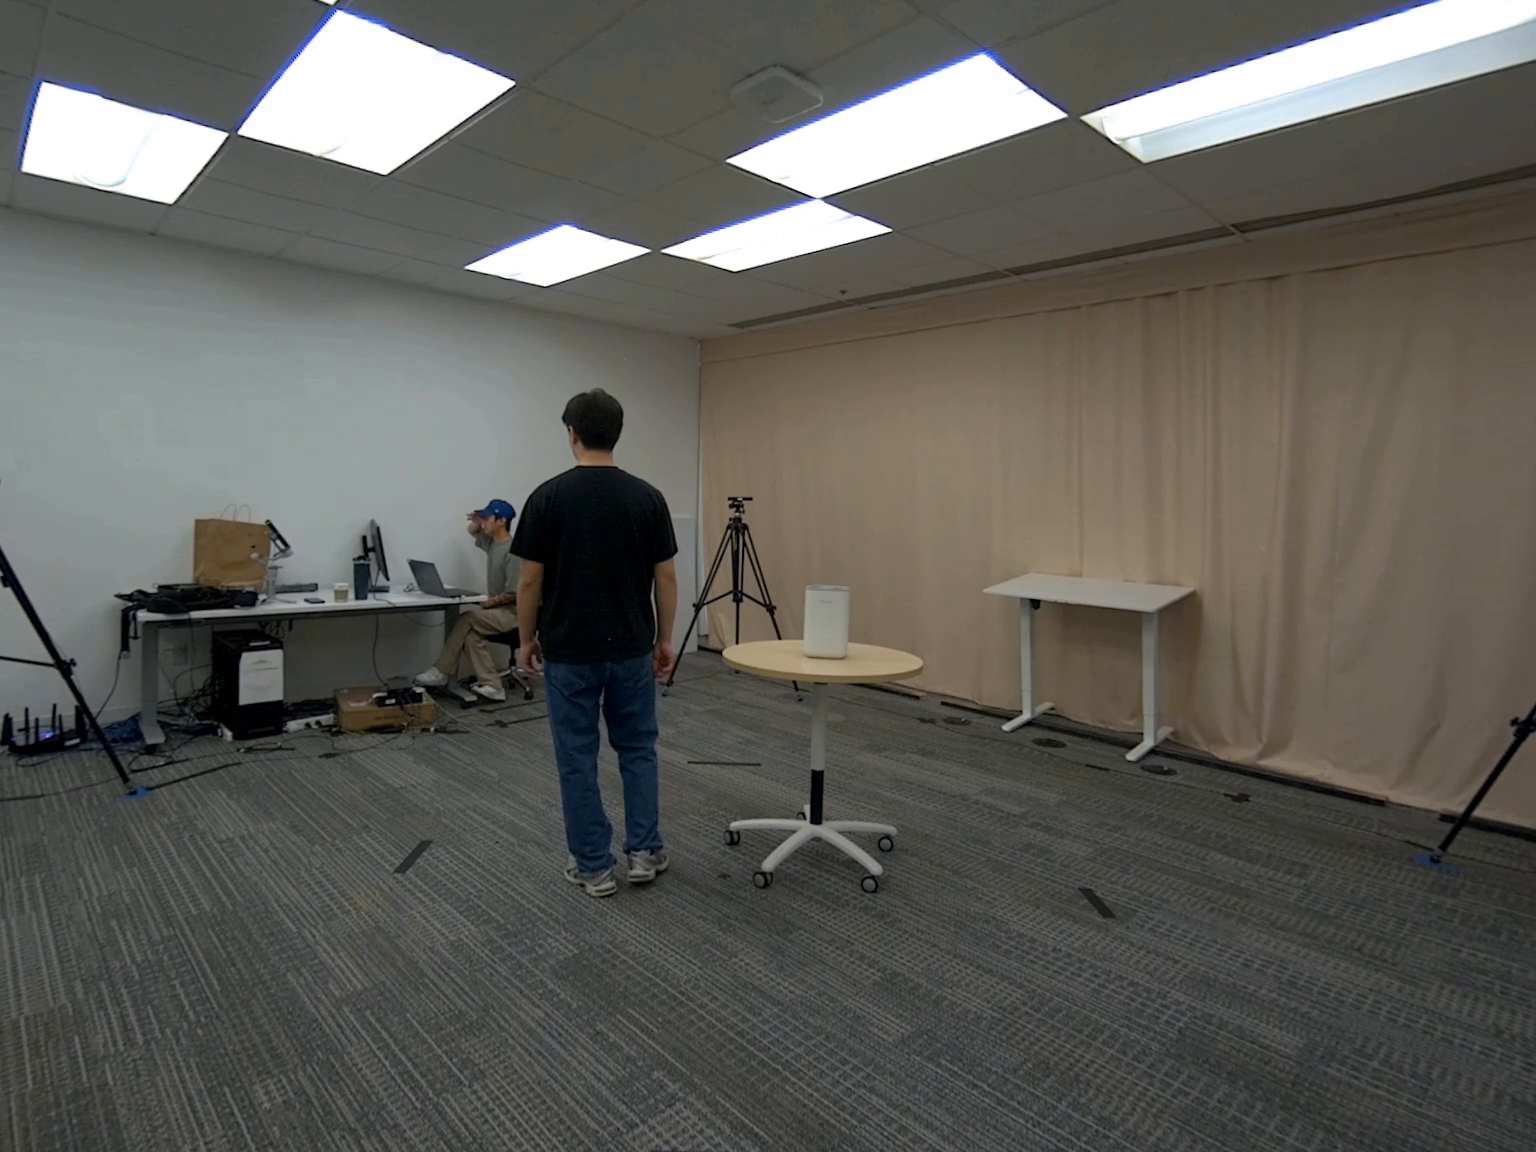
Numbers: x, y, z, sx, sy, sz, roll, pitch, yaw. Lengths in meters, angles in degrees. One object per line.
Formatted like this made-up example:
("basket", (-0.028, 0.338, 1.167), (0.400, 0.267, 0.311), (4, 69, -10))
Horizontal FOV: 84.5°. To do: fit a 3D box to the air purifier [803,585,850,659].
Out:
("air purifier", (0.222, 0.177, 3.250), (0.172, 0.265, 0.171), (2, 4, 8))
